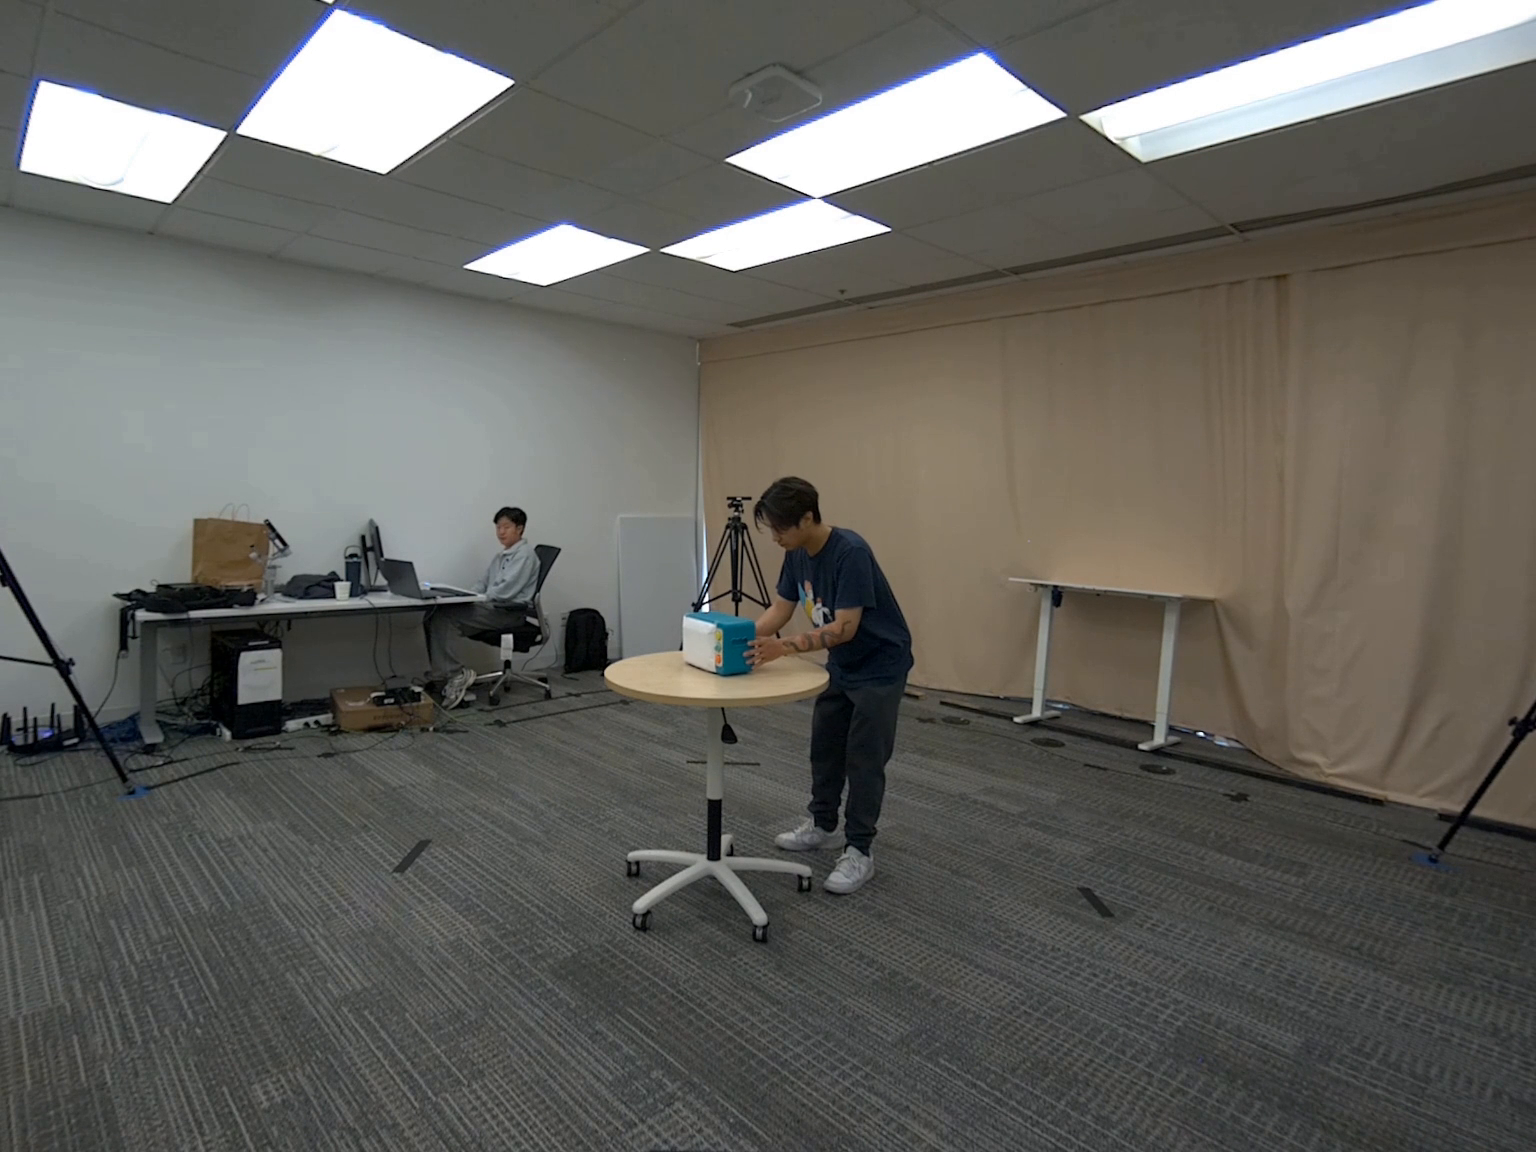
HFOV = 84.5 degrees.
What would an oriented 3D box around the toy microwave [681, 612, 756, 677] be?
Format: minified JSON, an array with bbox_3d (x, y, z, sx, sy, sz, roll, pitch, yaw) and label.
[{"bbox_3d":[-0.183,0.231,2.918,0.149,0.183,0.293,-2,6,-35],"label":"toy microwave"}]
